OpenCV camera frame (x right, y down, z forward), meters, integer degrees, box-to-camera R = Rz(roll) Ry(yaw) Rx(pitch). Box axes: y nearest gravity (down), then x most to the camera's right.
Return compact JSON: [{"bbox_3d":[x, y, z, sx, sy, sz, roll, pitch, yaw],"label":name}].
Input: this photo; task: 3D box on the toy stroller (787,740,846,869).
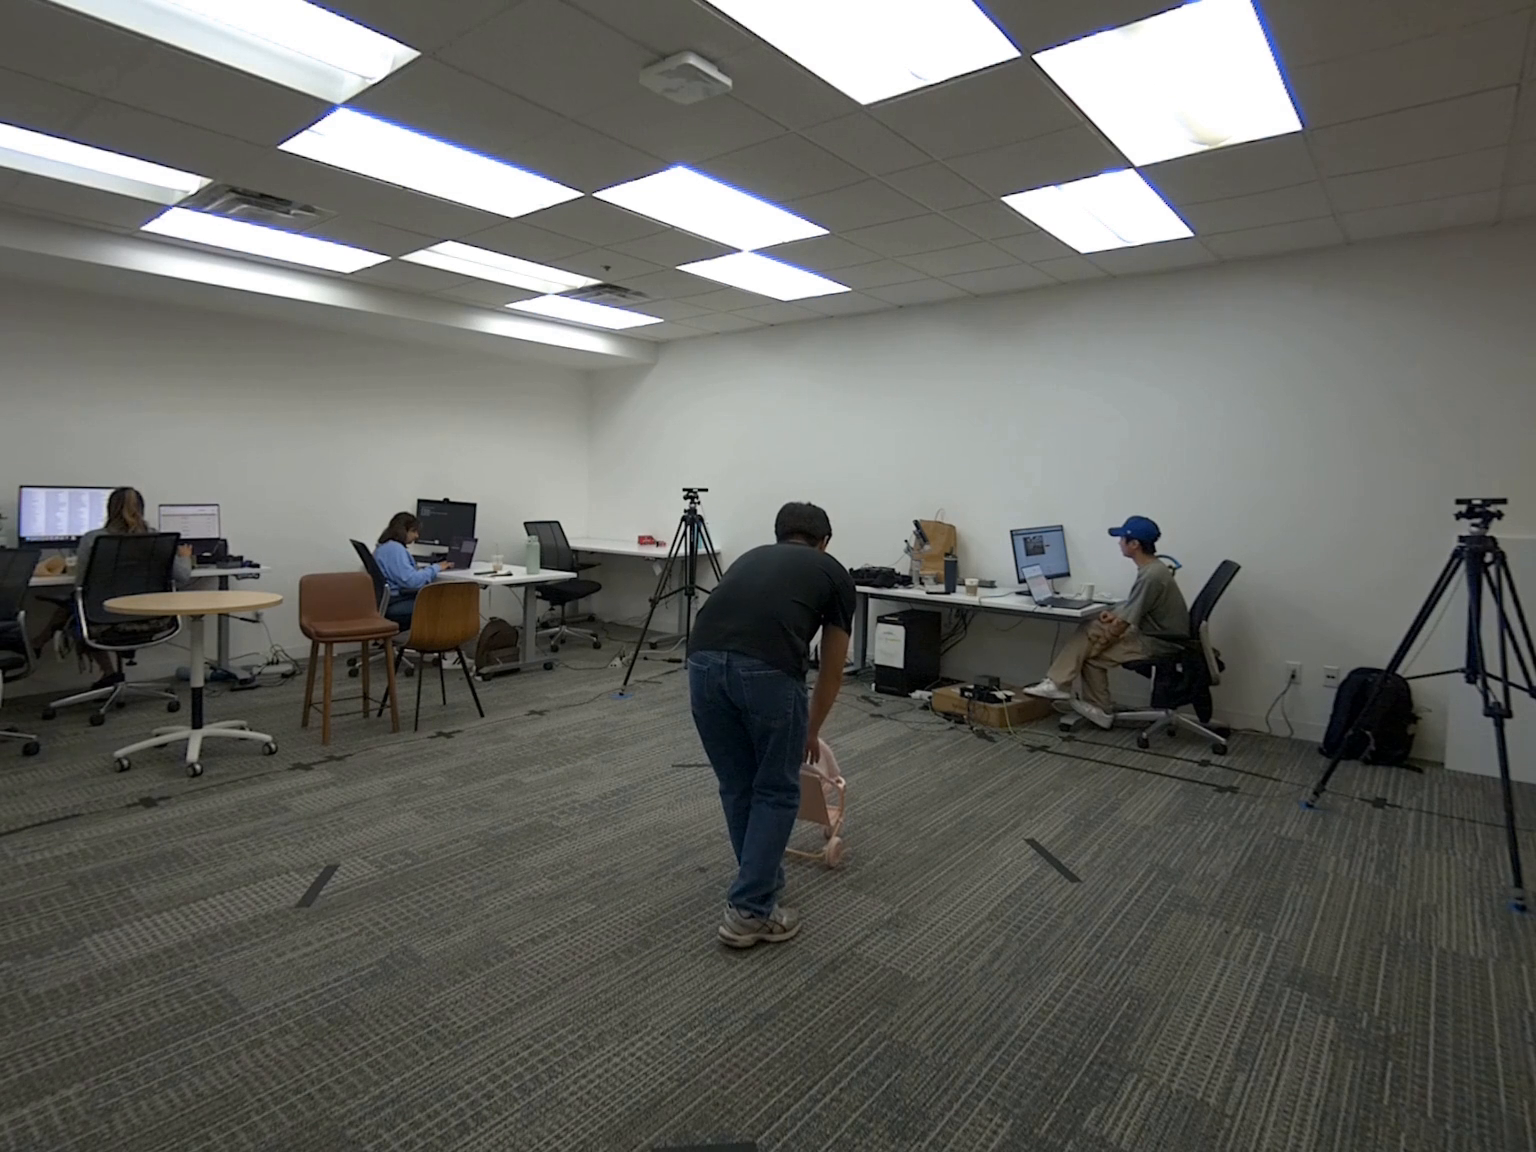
[{"bbox_3d":[0.160,0.838,3.252,0.290,0.525,0.337,5,22,31],"label":"toy stroller"}]
